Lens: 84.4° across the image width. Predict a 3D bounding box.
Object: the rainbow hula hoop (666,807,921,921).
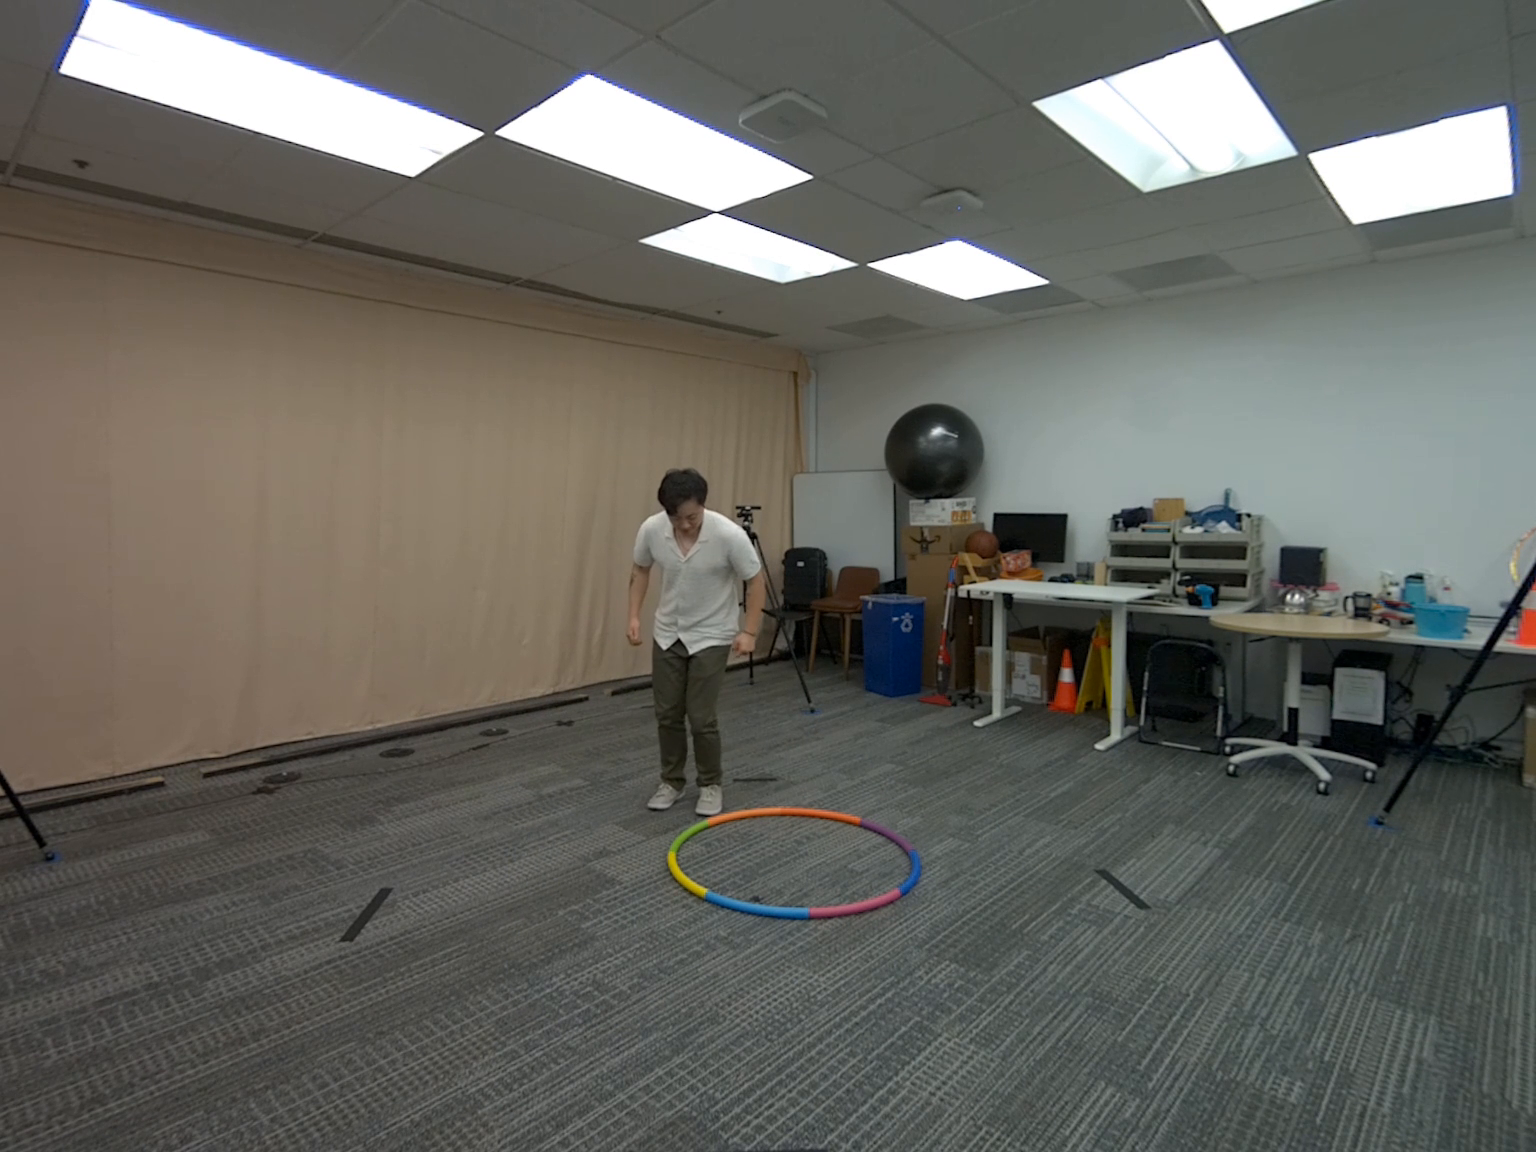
[{"bbox_3d":[0.099,1.089,3.312,0.978,0.035,0.982,0,5,-2],"label":"rainbow hula hoop"}]
